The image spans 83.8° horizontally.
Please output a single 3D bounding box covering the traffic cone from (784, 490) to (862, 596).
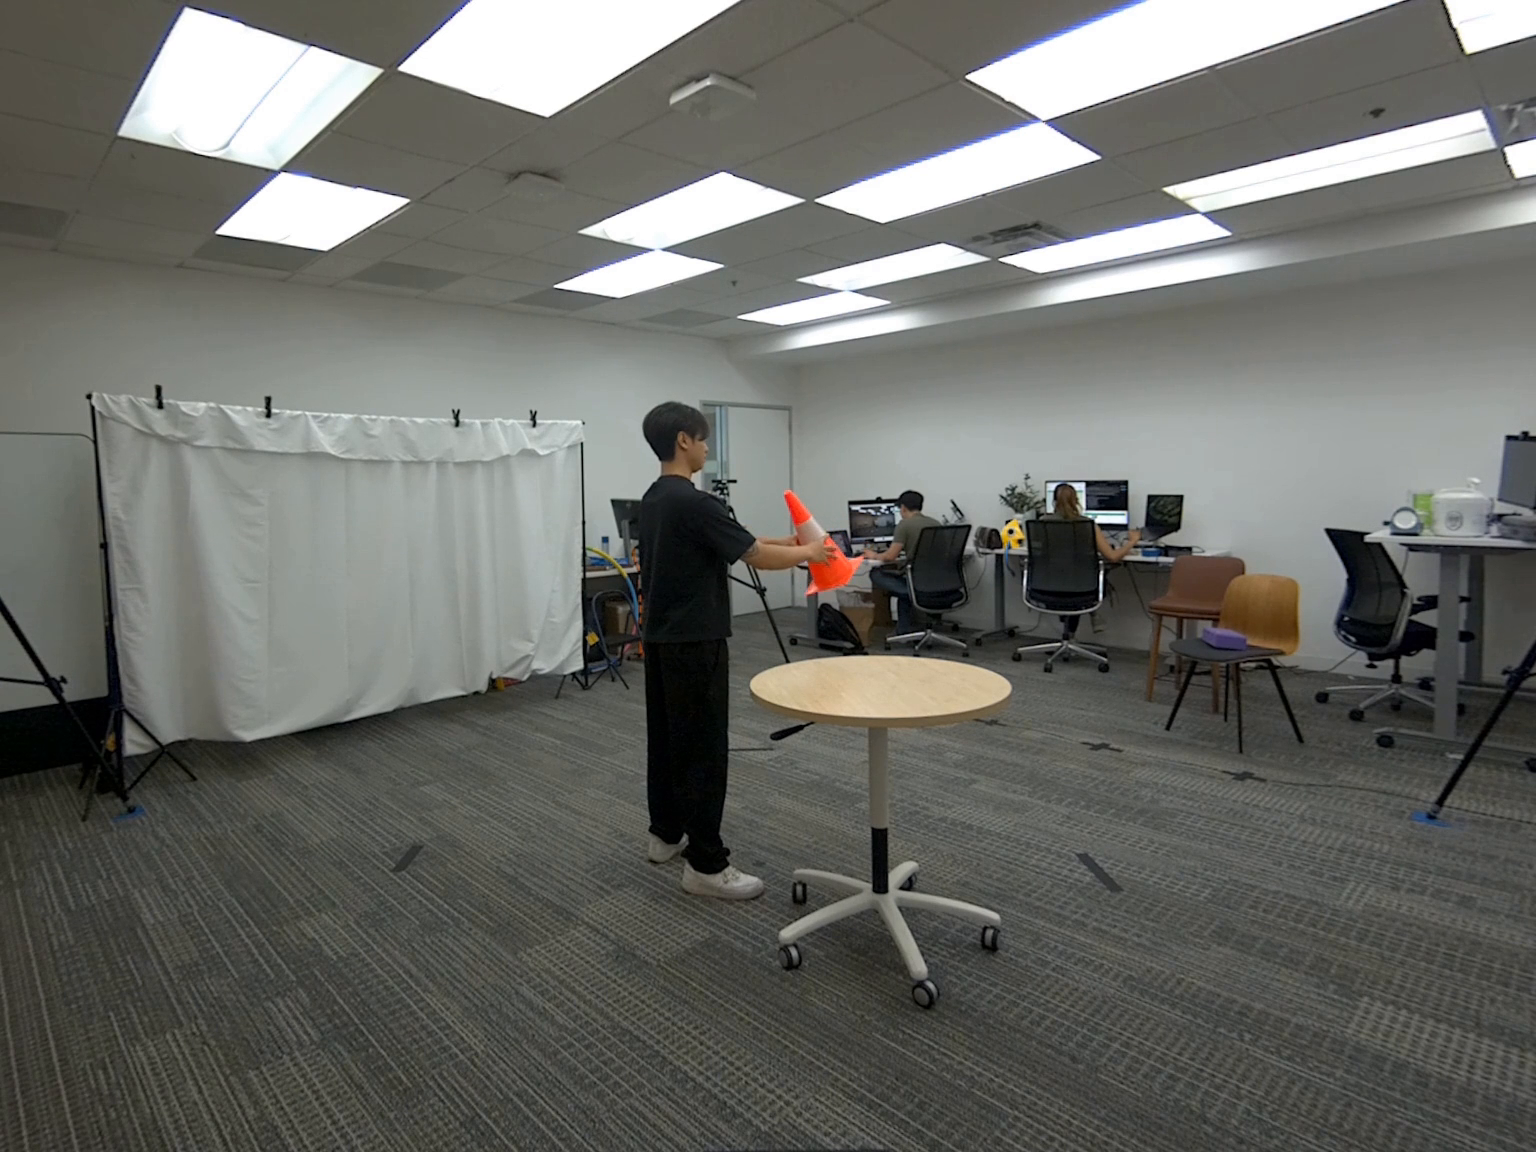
[{"bbox_3d":[0.152,-0.149,3.192,0.207,0.377,0.205,-20,17,40],"label":"traffic cone"}]
